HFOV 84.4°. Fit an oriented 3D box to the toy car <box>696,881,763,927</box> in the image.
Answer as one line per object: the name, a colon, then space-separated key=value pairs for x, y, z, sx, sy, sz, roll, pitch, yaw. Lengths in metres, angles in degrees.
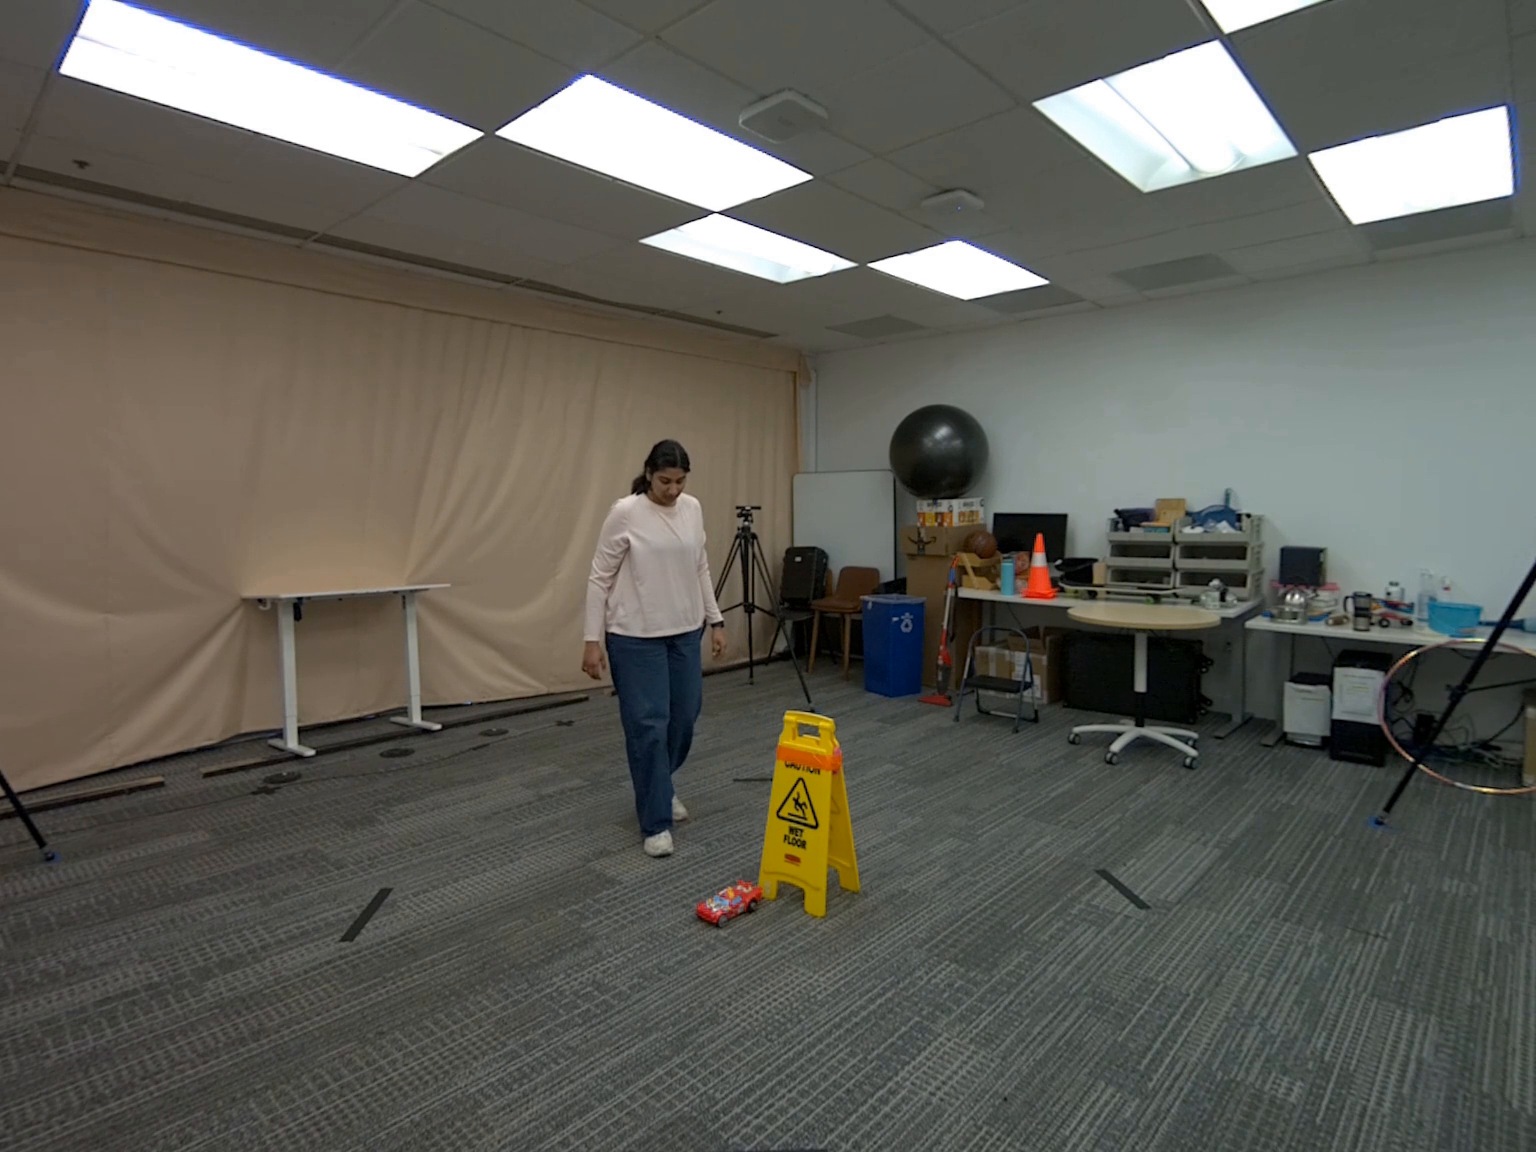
toy car: x=-0.123 y=1.124 z=2.883 sx=0.134 sy=0.082 sz=0.248 roll=4 pitch=17 yaw=45
